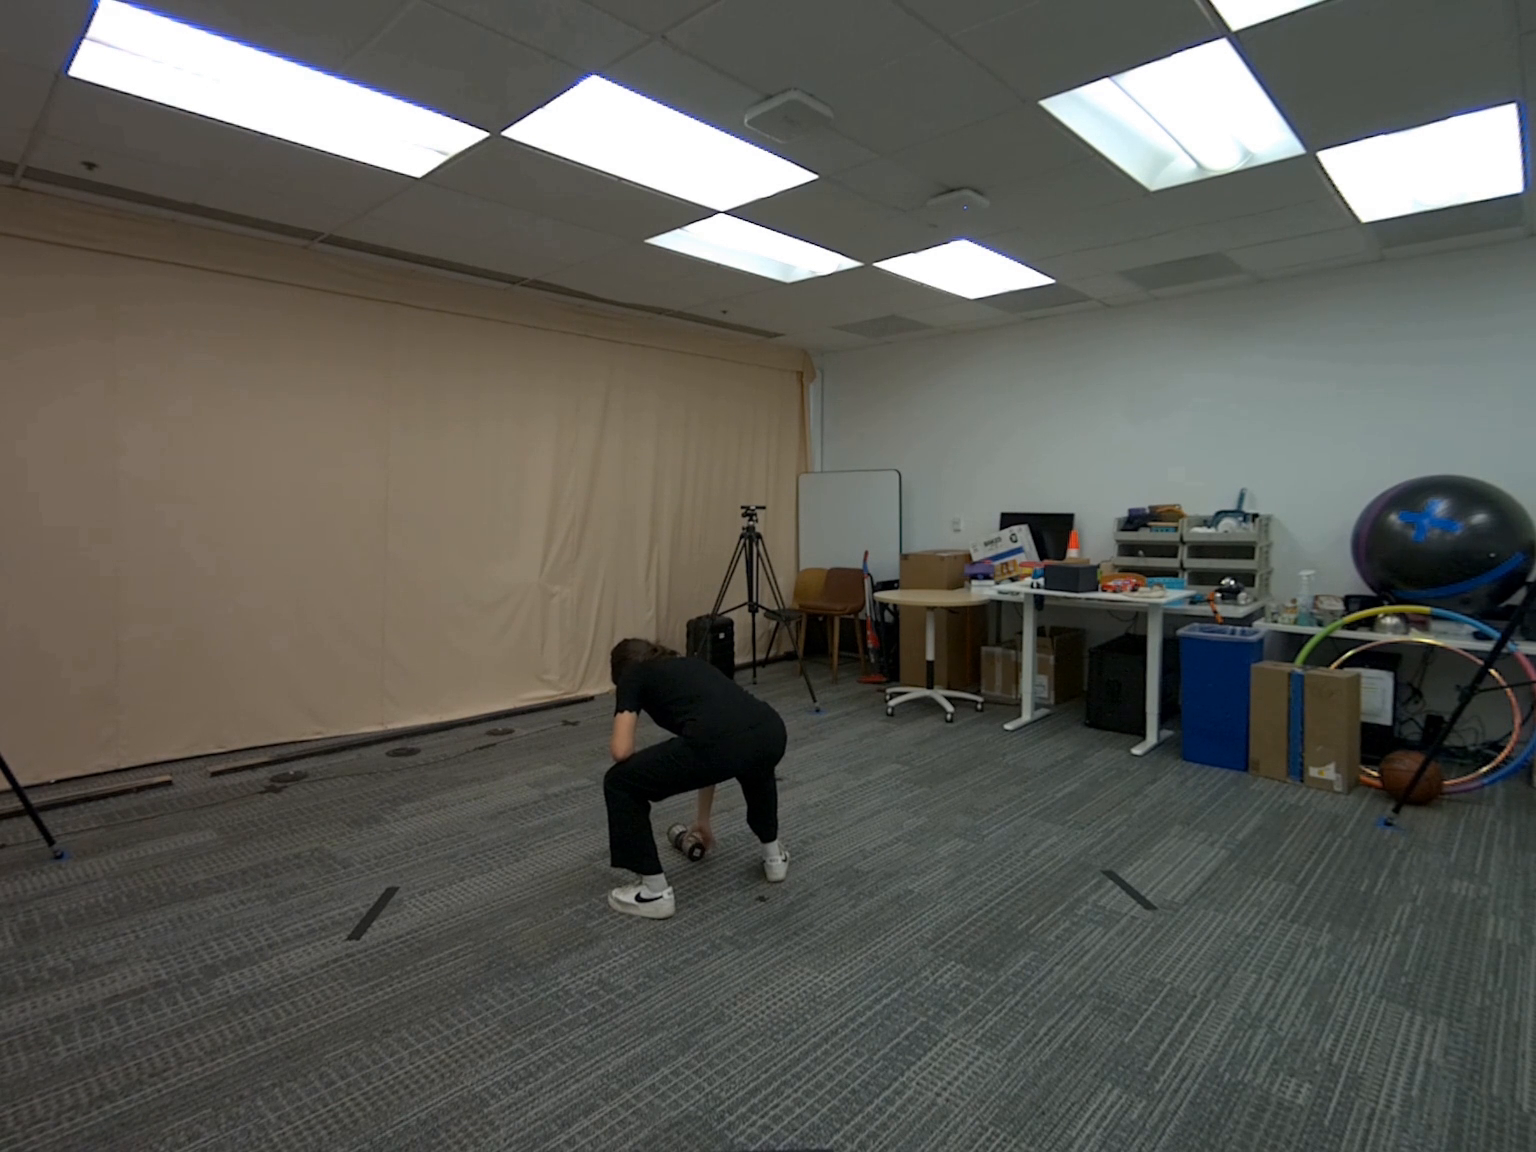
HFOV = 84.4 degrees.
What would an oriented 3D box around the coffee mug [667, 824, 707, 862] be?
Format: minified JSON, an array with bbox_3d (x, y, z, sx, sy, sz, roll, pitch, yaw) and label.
[{"bbox_3d":[-0.310,1.065,3.394,0.119,0.087,0.209,-16,14,-31],"label":"coffee mug"}]
